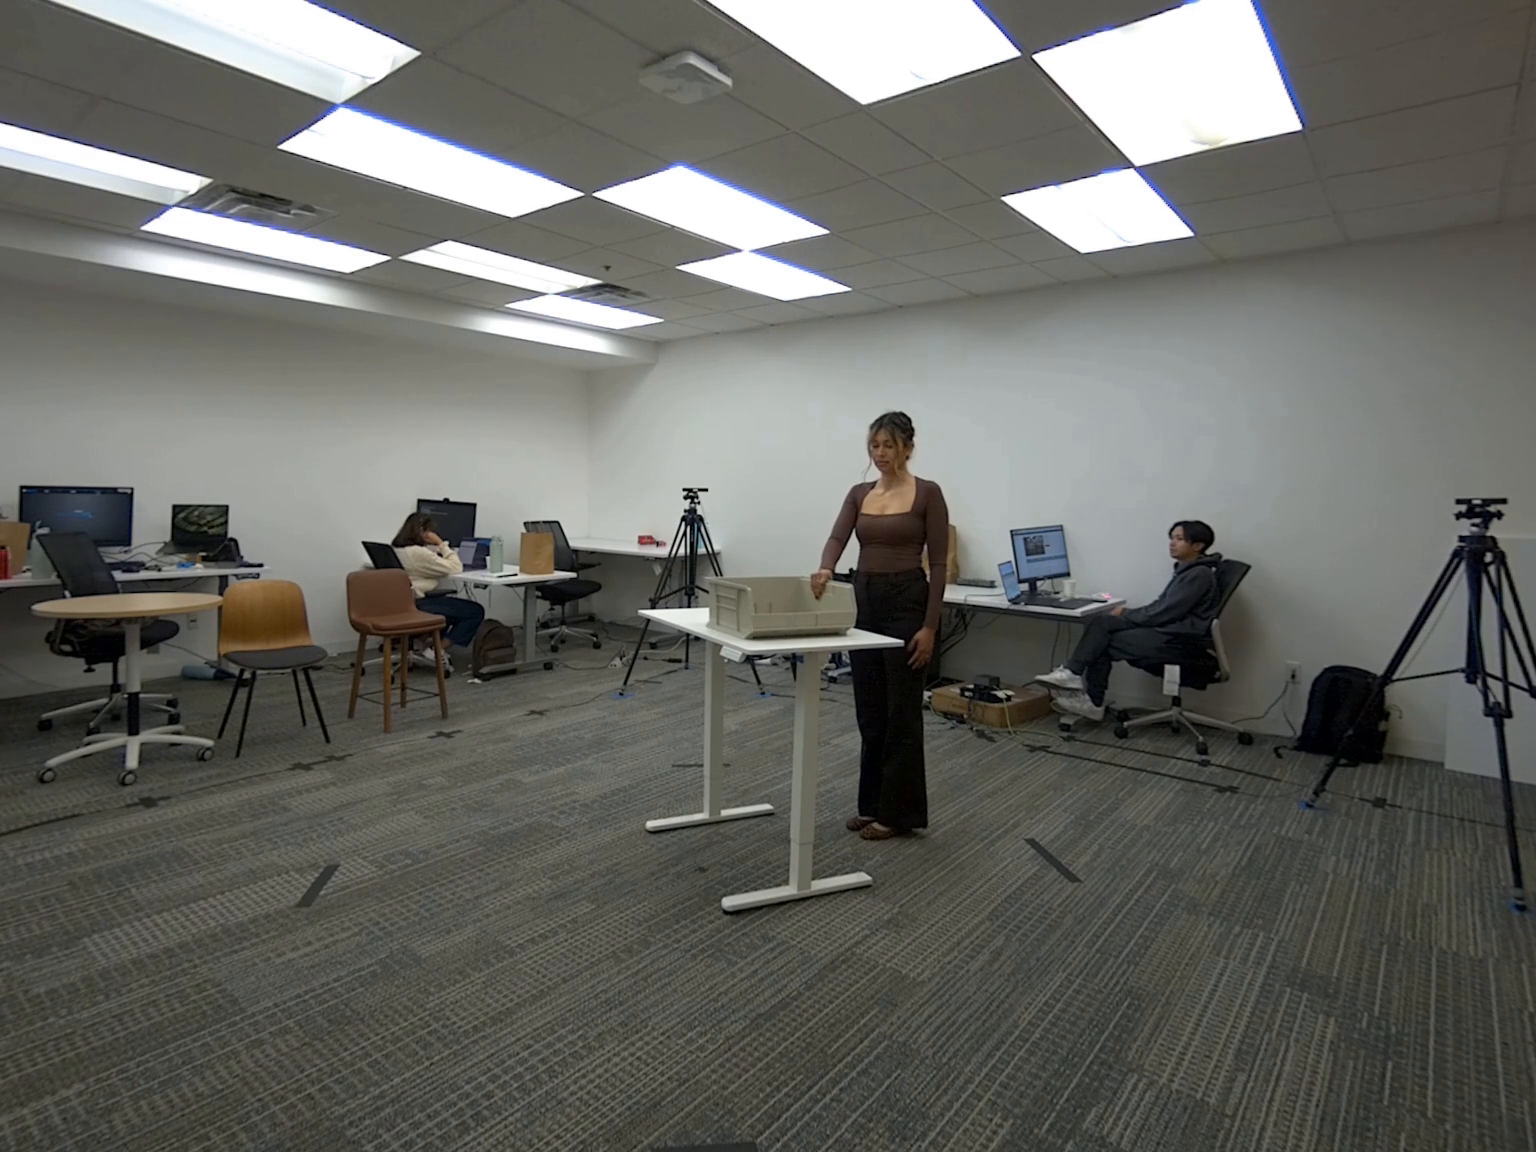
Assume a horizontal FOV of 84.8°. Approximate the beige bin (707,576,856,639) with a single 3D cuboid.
[{"bbox_3d":[0.033,0.107,3.042,0.412,0.188,0.388,-2,4,-28],"label":"beige bin"}]
